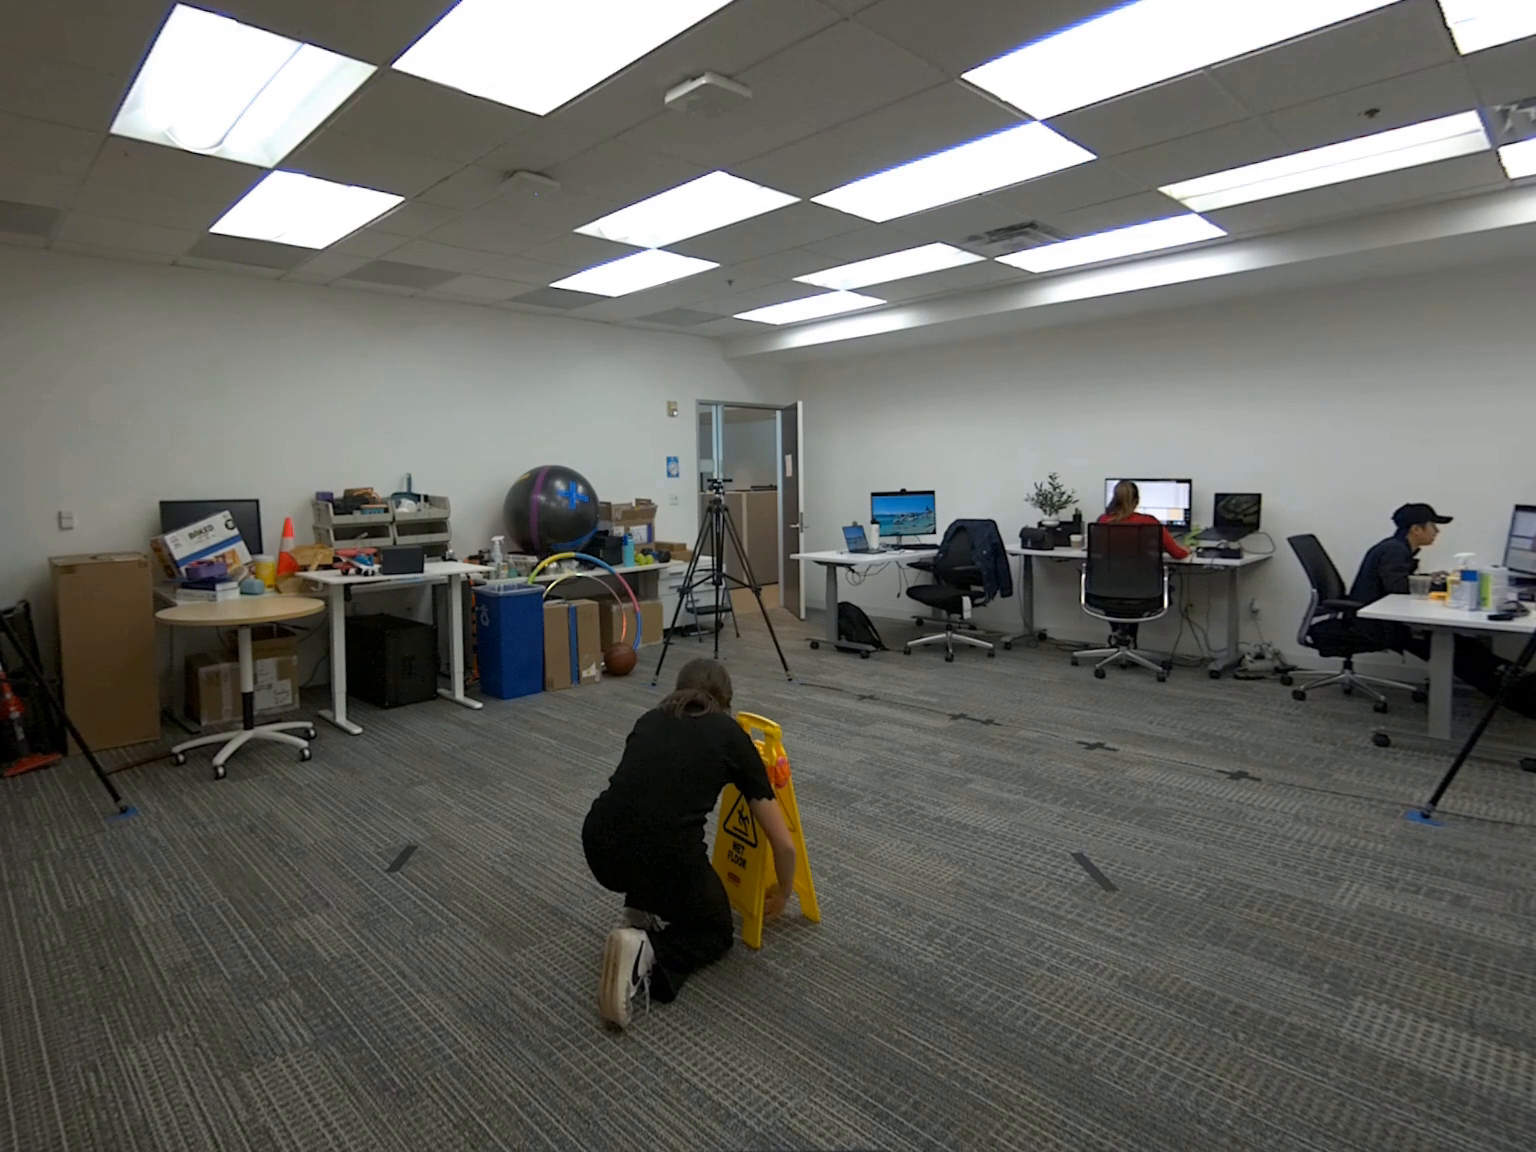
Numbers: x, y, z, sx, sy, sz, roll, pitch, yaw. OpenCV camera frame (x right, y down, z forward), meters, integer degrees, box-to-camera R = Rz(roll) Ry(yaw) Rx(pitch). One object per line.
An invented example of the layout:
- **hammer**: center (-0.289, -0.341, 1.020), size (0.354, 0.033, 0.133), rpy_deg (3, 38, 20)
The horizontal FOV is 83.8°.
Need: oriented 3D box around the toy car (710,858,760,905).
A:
- **toy car**: center (-0.175, 1.038, 2.933), size (0.261, 0.083, 0.127), rpy_deg (-8, -1, 40)
